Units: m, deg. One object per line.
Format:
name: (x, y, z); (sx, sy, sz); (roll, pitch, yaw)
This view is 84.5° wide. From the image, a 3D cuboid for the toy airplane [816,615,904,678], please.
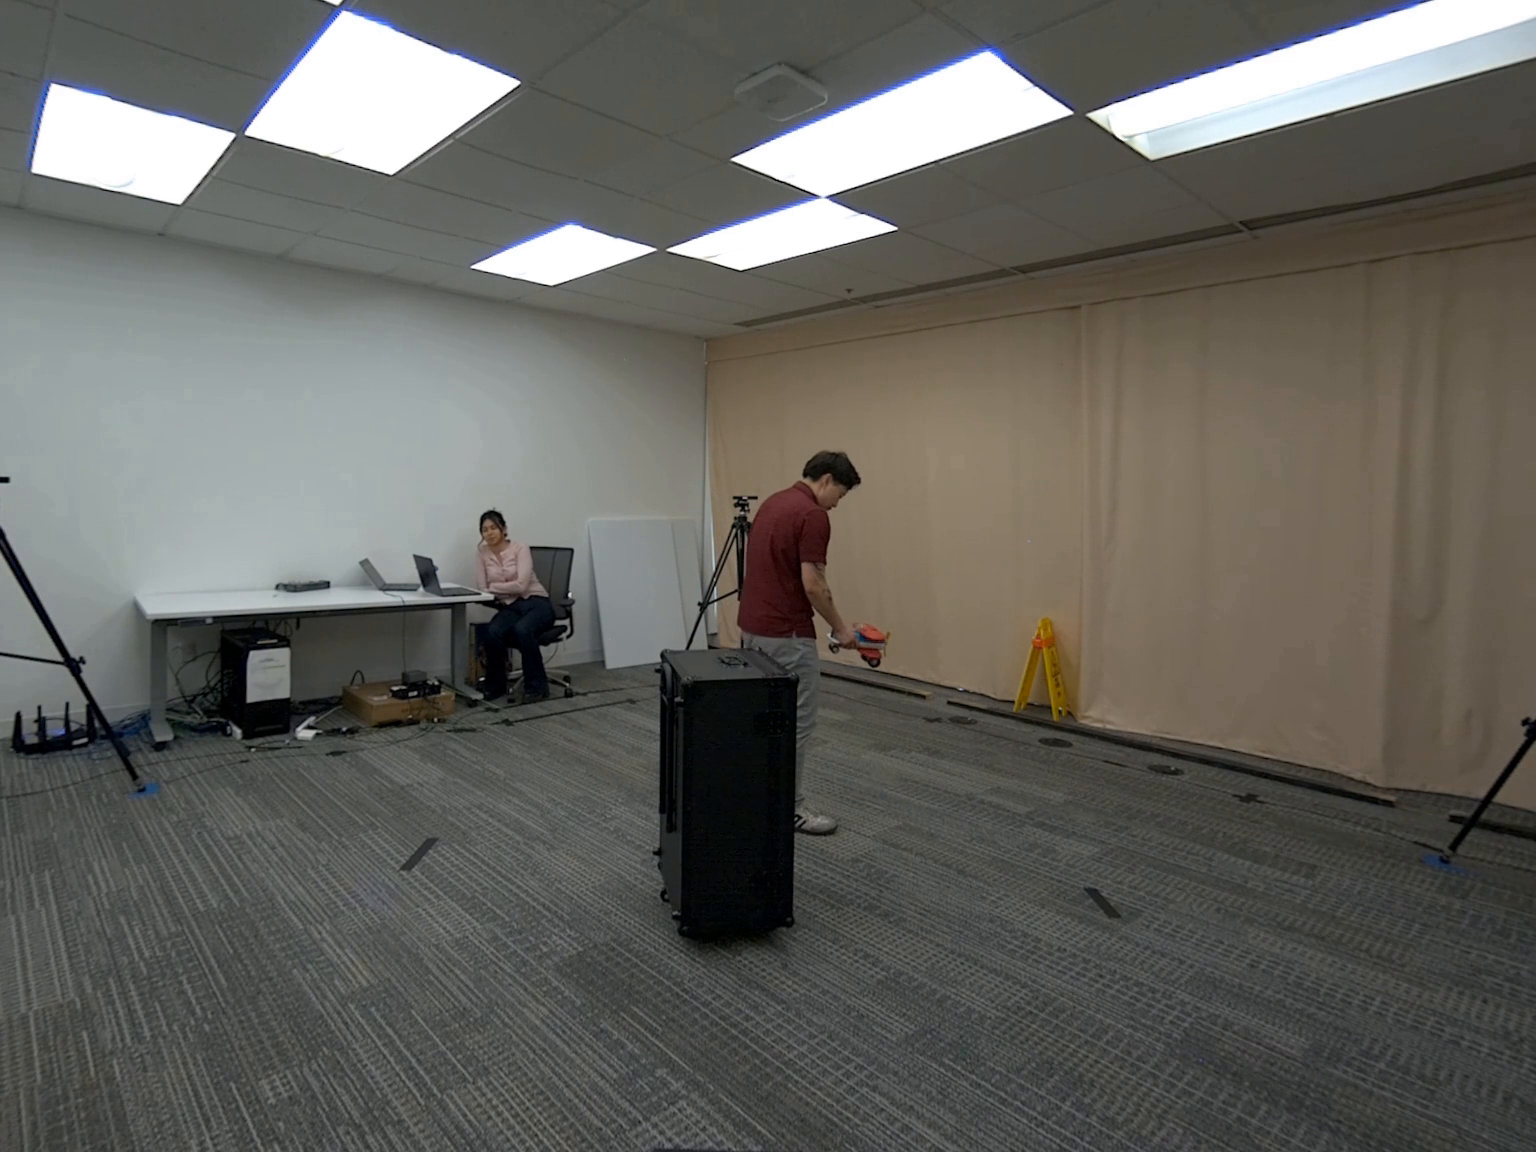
toy airplane: (0.380, 0.293, 3.624); (0.252, 0.156, 0.259); (15, 10, -41)
